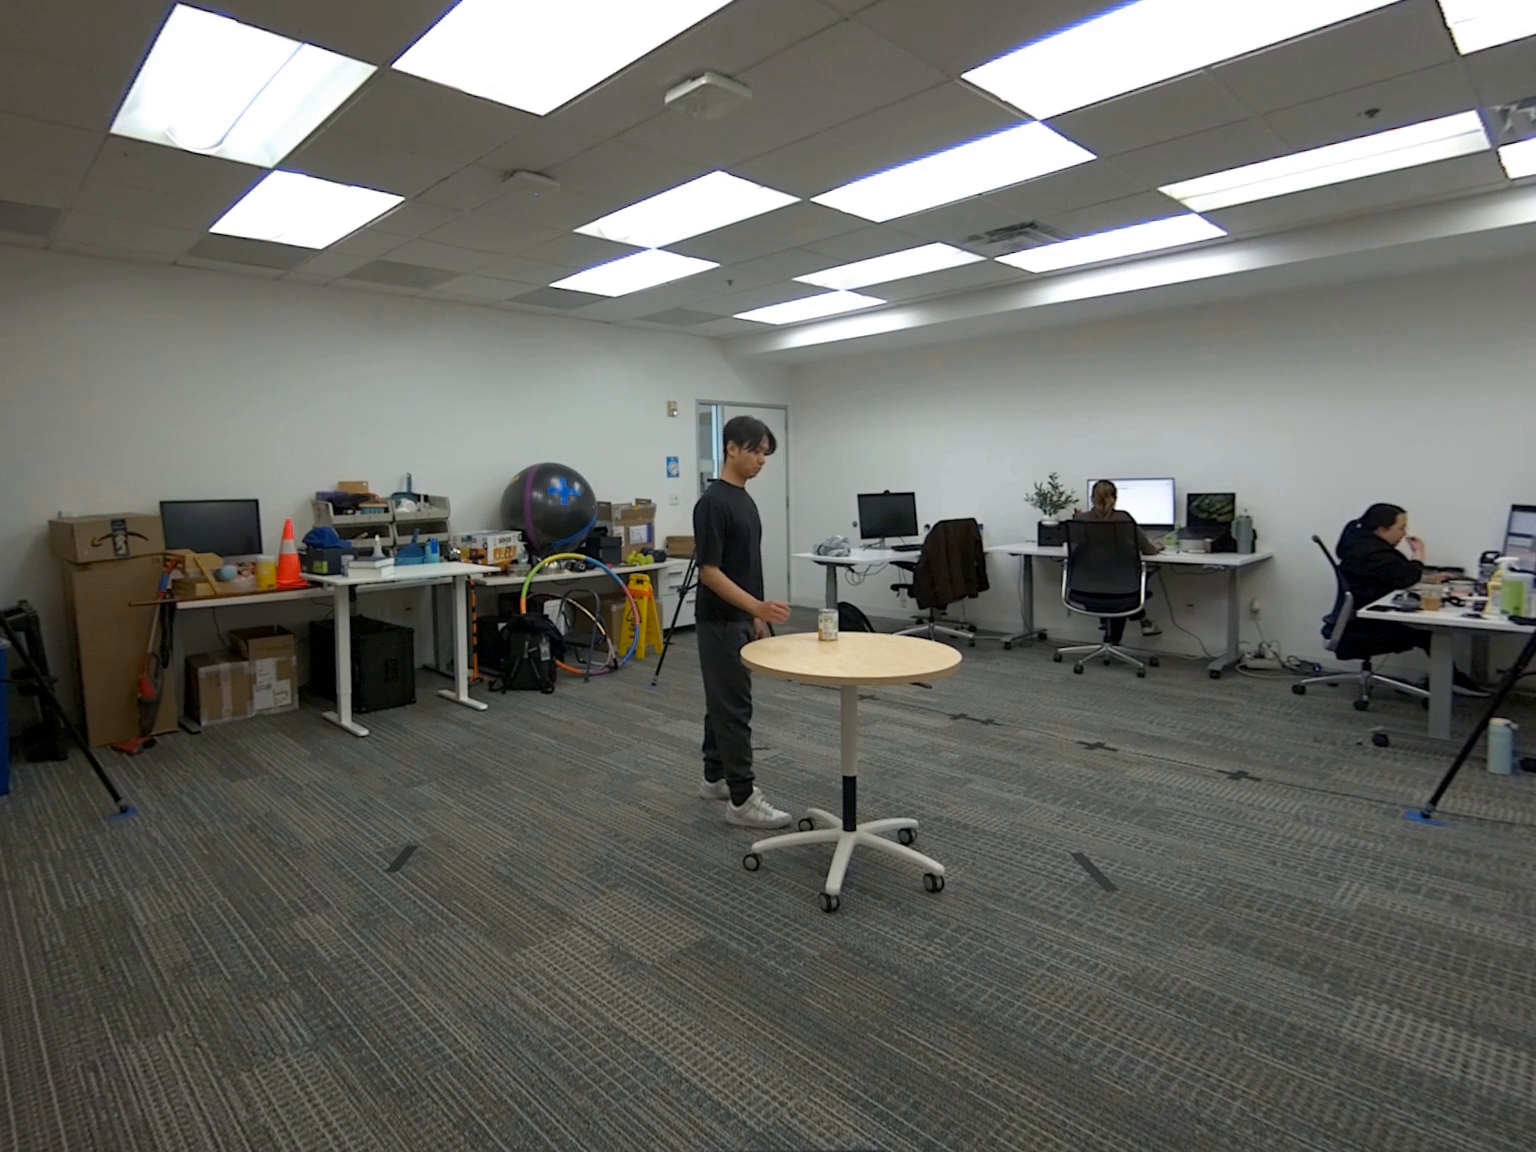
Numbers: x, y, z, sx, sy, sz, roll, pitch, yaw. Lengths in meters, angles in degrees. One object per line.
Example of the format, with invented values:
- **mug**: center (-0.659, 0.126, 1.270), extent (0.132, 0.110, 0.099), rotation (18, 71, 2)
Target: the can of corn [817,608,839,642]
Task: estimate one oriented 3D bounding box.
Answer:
- **can of corn**: center (0.229, 0.187, 3.232), extent (0.074, 0.111, 0.074), rotation (-1, 4, -2)
